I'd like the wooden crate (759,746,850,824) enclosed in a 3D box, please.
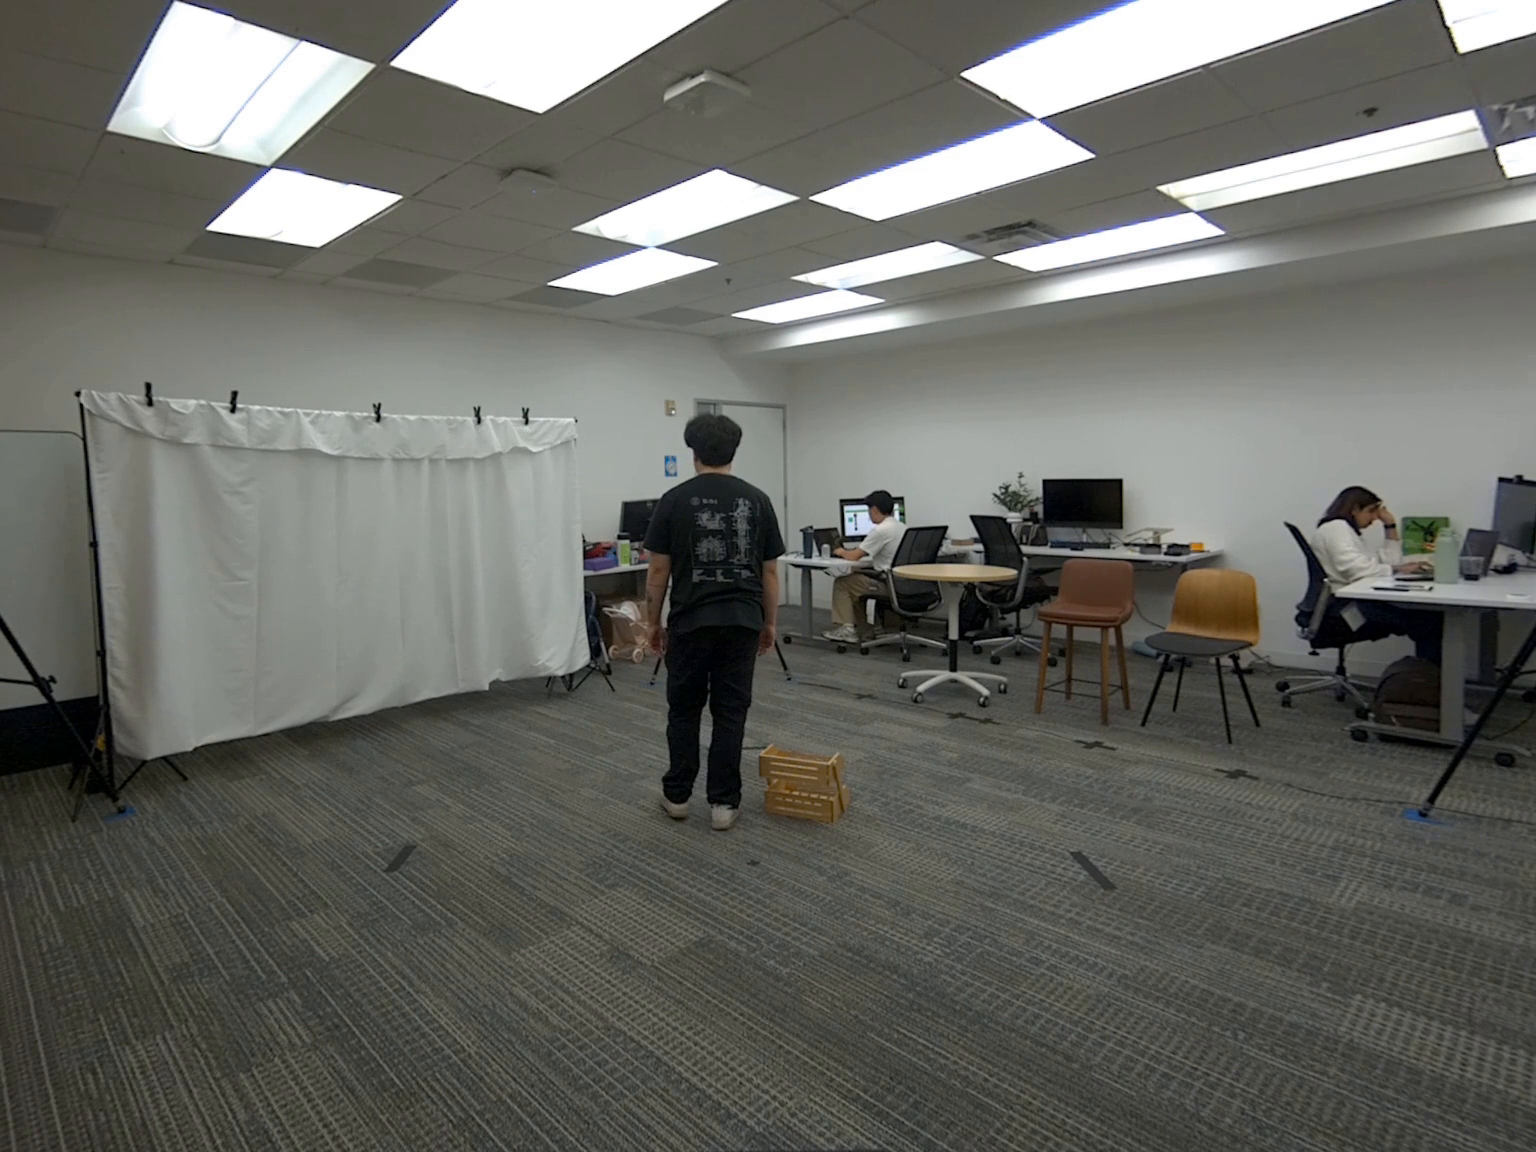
[{"bbox_3d":[0.158,0.848,3.600,0.331,0.272,0.297,1,6,22],"label":"wooden crate"}]
